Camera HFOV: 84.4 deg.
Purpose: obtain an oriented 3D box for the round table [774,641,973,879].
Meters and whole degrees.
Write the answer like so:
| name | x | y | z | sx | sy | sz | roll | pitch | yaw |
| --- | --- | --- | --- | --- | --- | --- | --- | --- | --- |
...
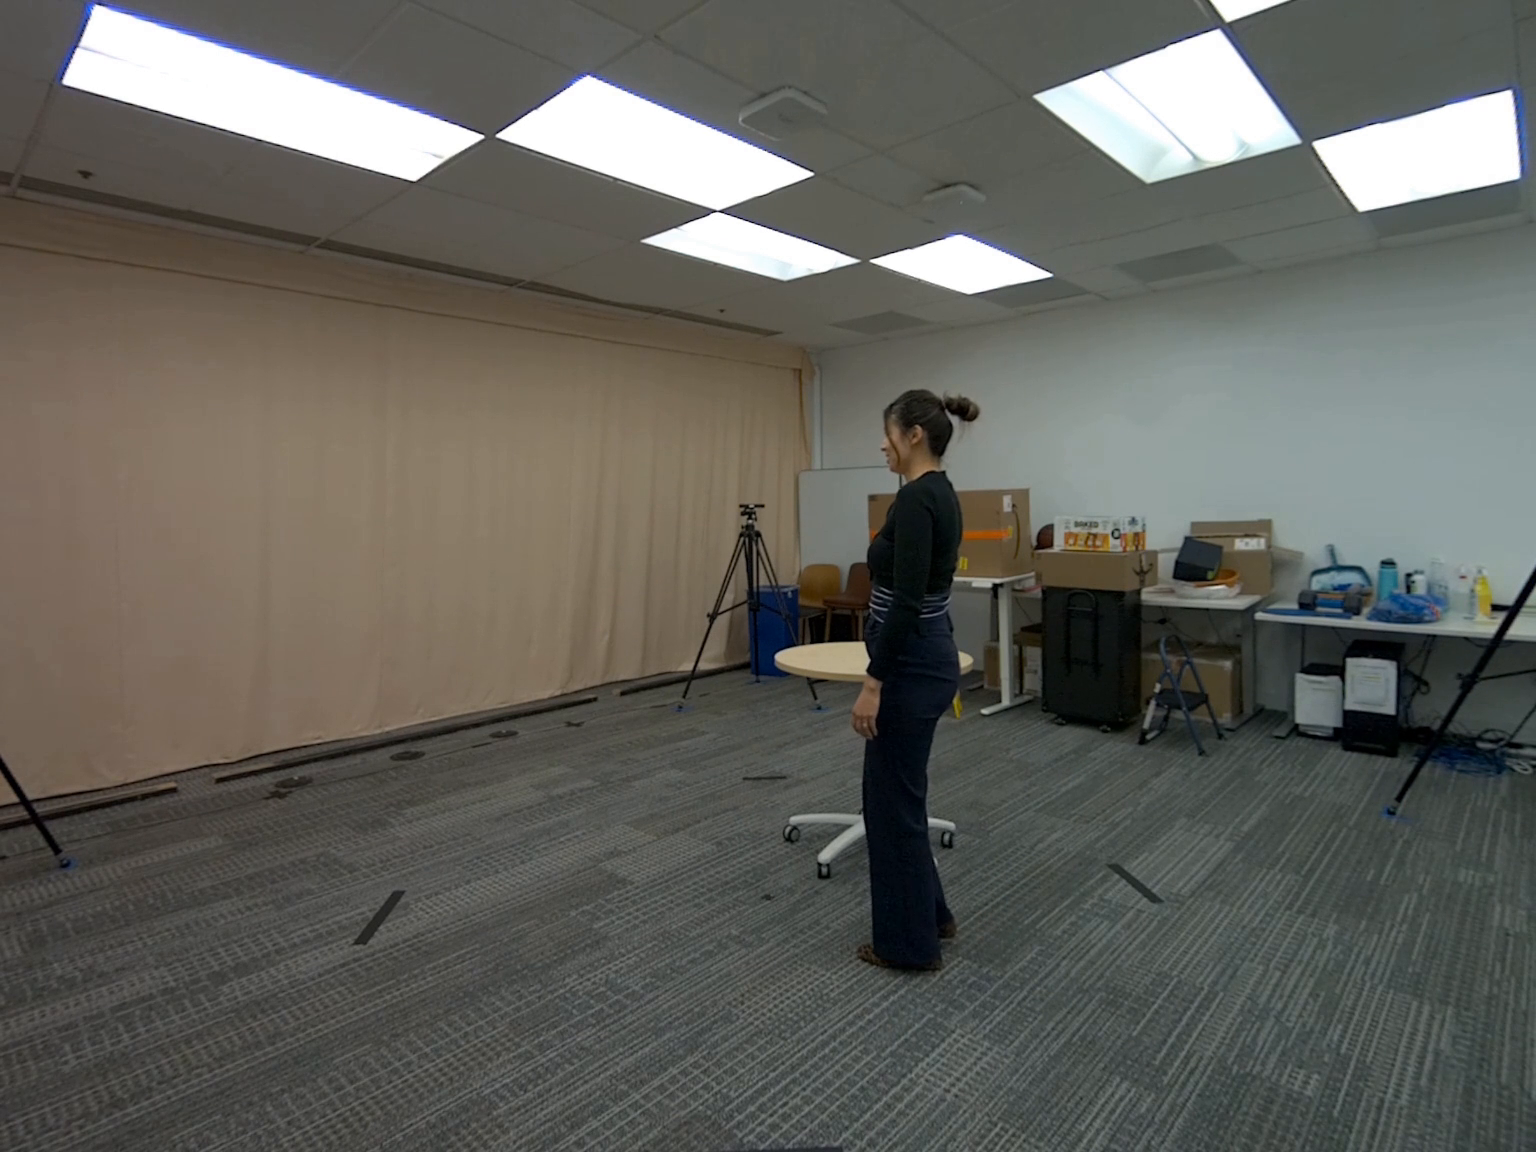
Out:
| name | x | y | z | sx | sy | sz | roll | pitch | yaw |
| --- | --- | --- | --- | --- | --- | --- | --- | --- | --- |
| round table | 0.412 | 0.713 | 3.344 | 0.763 | 0.792 | 0.766 | -1 | 3 | -2 |
